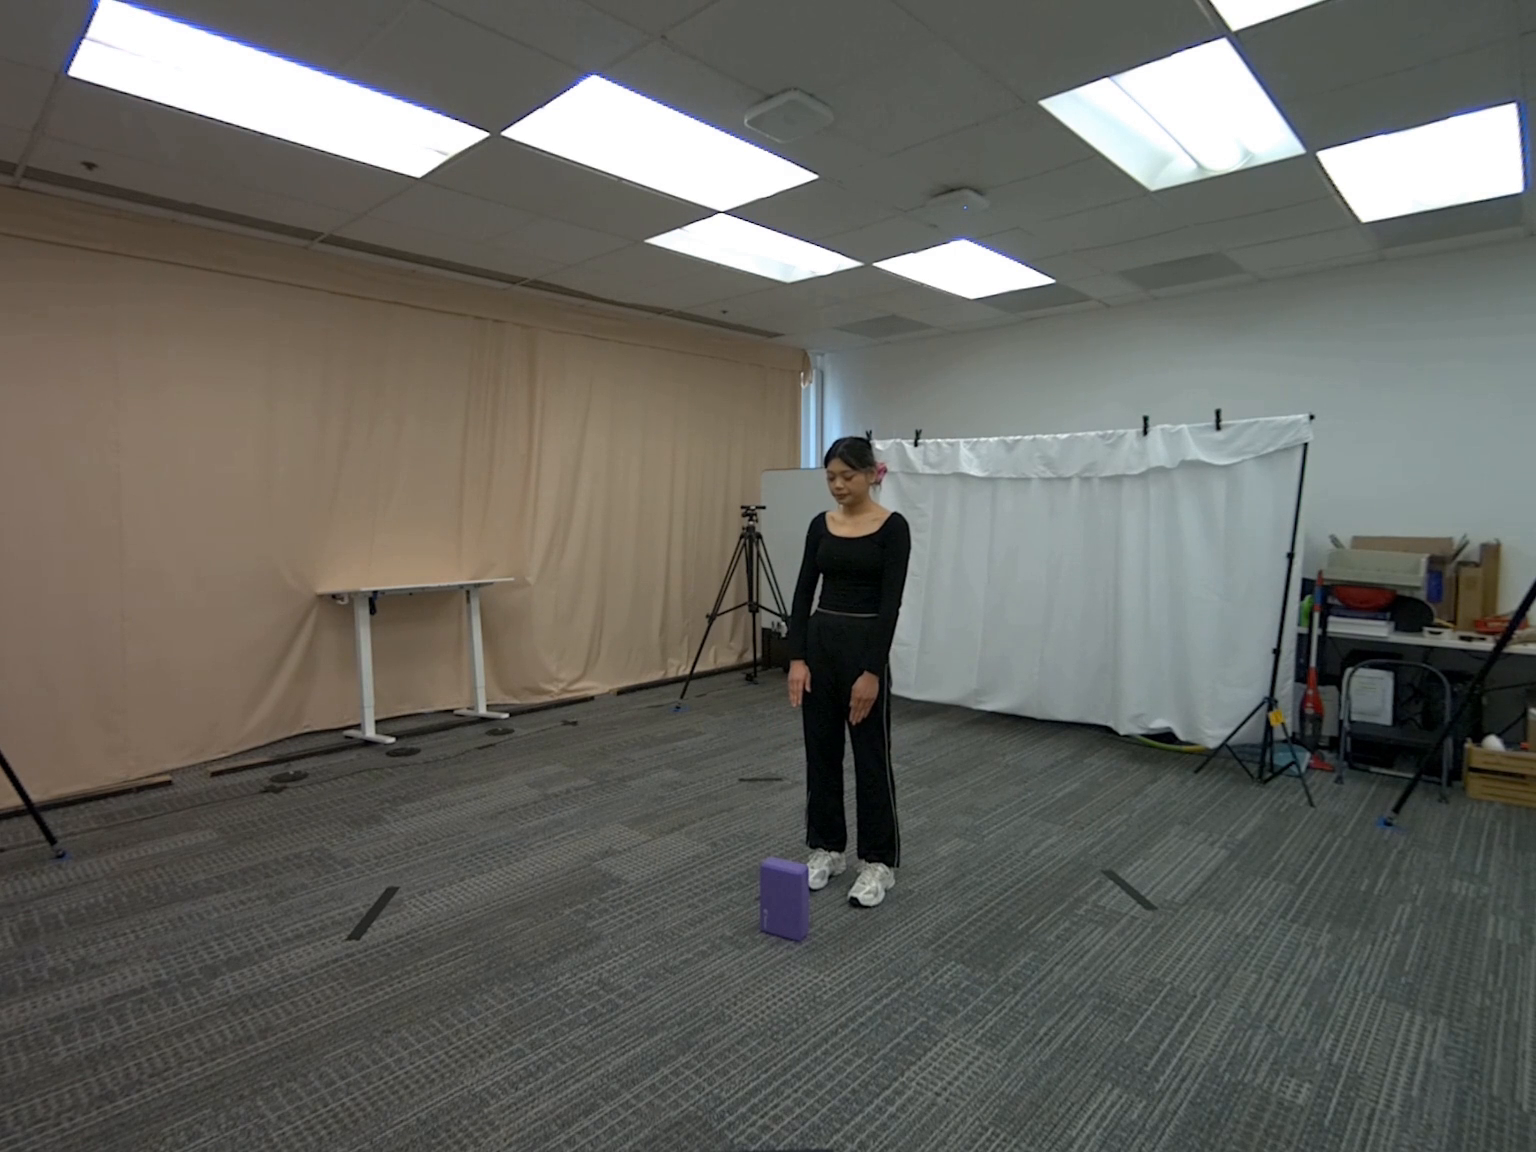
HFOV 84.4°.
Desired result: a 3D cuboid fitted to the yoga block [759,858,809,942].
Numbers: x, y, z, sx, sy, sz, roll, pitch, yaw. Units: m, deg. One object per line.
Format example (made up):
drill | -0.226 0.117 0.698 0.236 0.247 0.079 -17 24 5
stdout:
yoga block | 0.058 1.049 2.737 0.153 0.229 0.074 2 4 28
